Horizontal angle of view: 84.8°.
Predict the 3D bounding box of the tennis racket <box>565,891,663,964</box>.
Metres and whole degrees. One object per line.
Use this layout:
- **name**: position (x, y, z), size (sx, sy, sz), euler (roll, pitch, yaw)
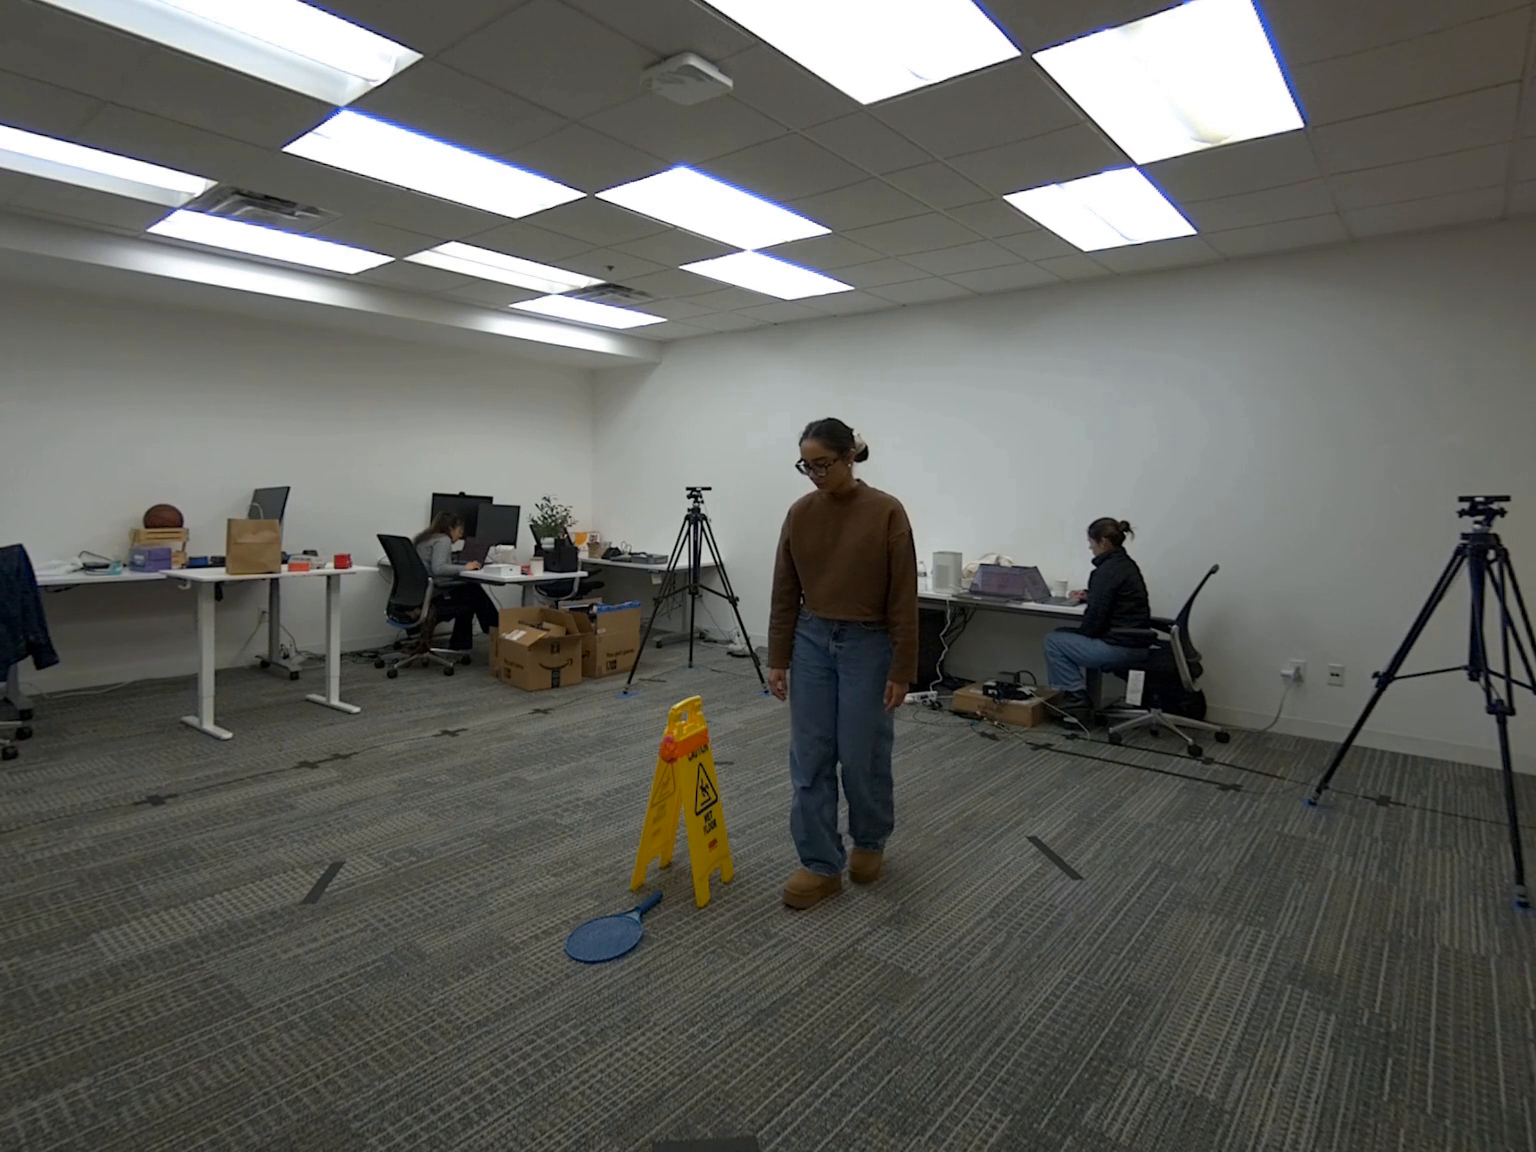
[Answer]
- **tennis racket**: position (-0.467, 1.090, 2.675), size (0.220, 0.031, 0.423), euler (3, 8, 28)
